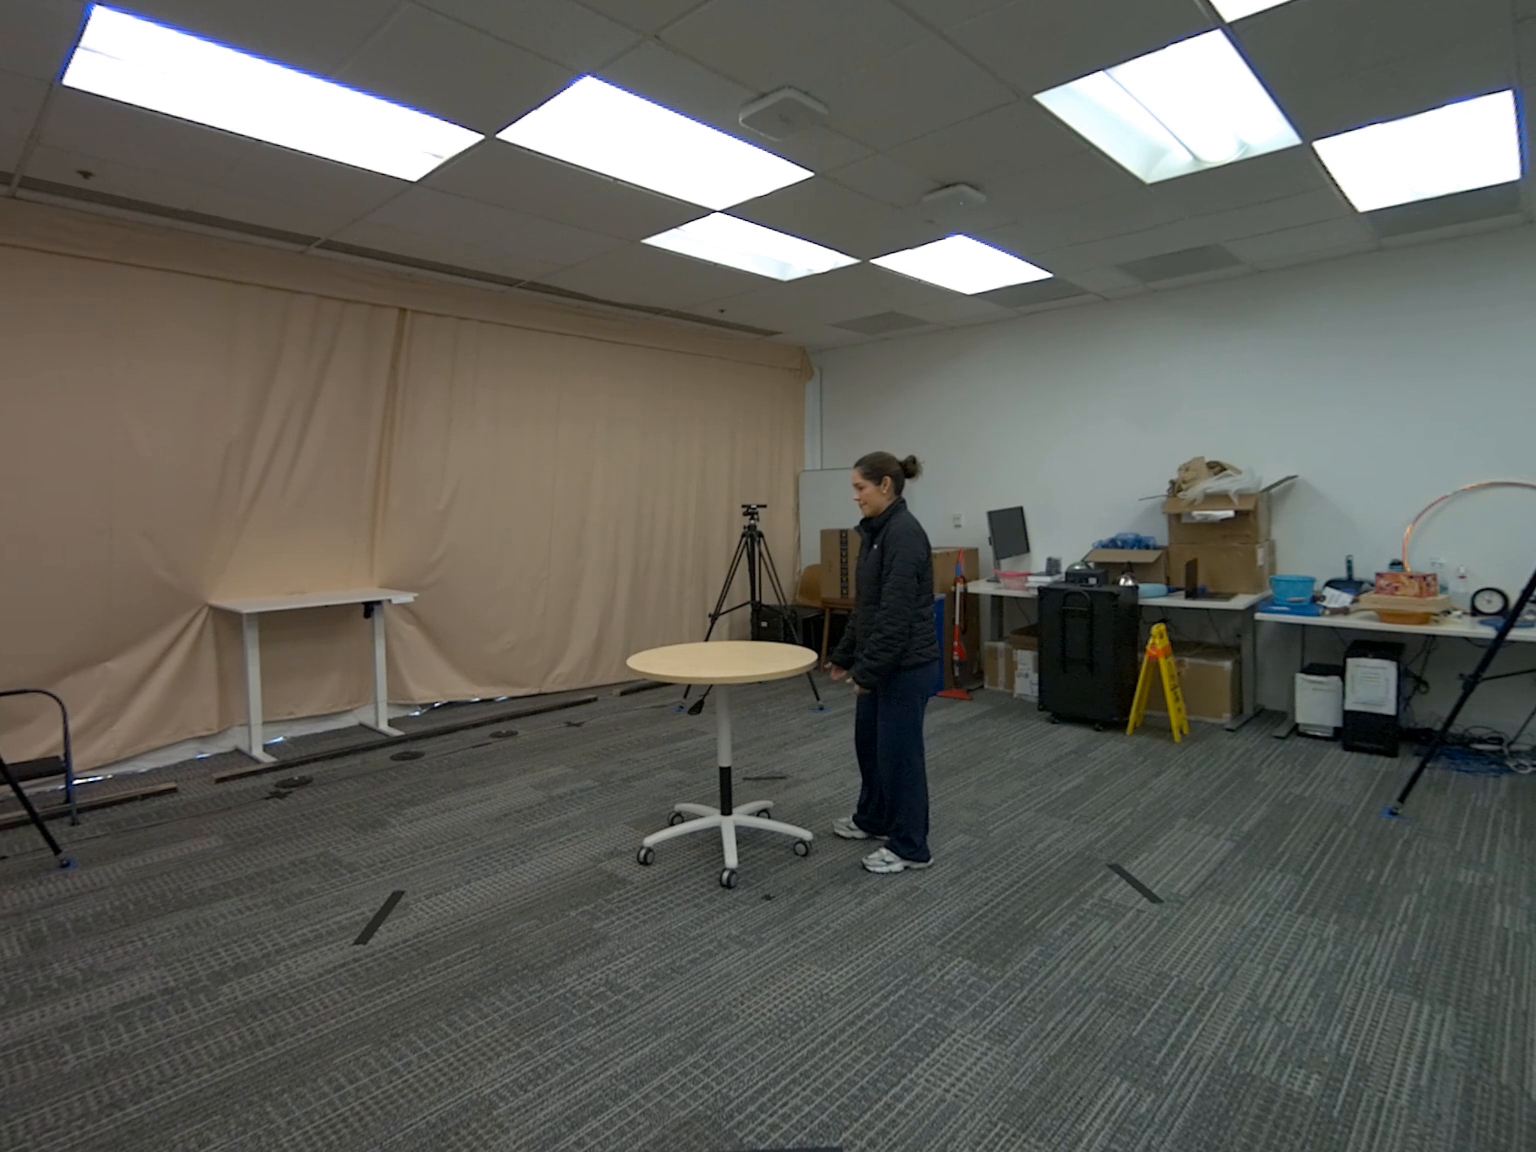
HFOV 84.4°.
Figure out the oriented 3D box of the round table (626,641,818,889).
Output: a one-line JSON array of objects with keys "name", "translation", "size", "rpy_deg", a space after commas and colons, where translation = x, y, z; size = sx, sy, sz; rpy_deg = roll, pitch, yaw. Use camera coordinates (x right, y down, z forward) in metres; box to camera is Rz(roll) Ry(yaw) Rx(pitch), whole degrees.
[{"name": "round table", "translation": [-0.156, 0.717, 3.400], "size": [0.784, 0.785, 0.788], "rpy_deg": [-1, 4, -2]}]
